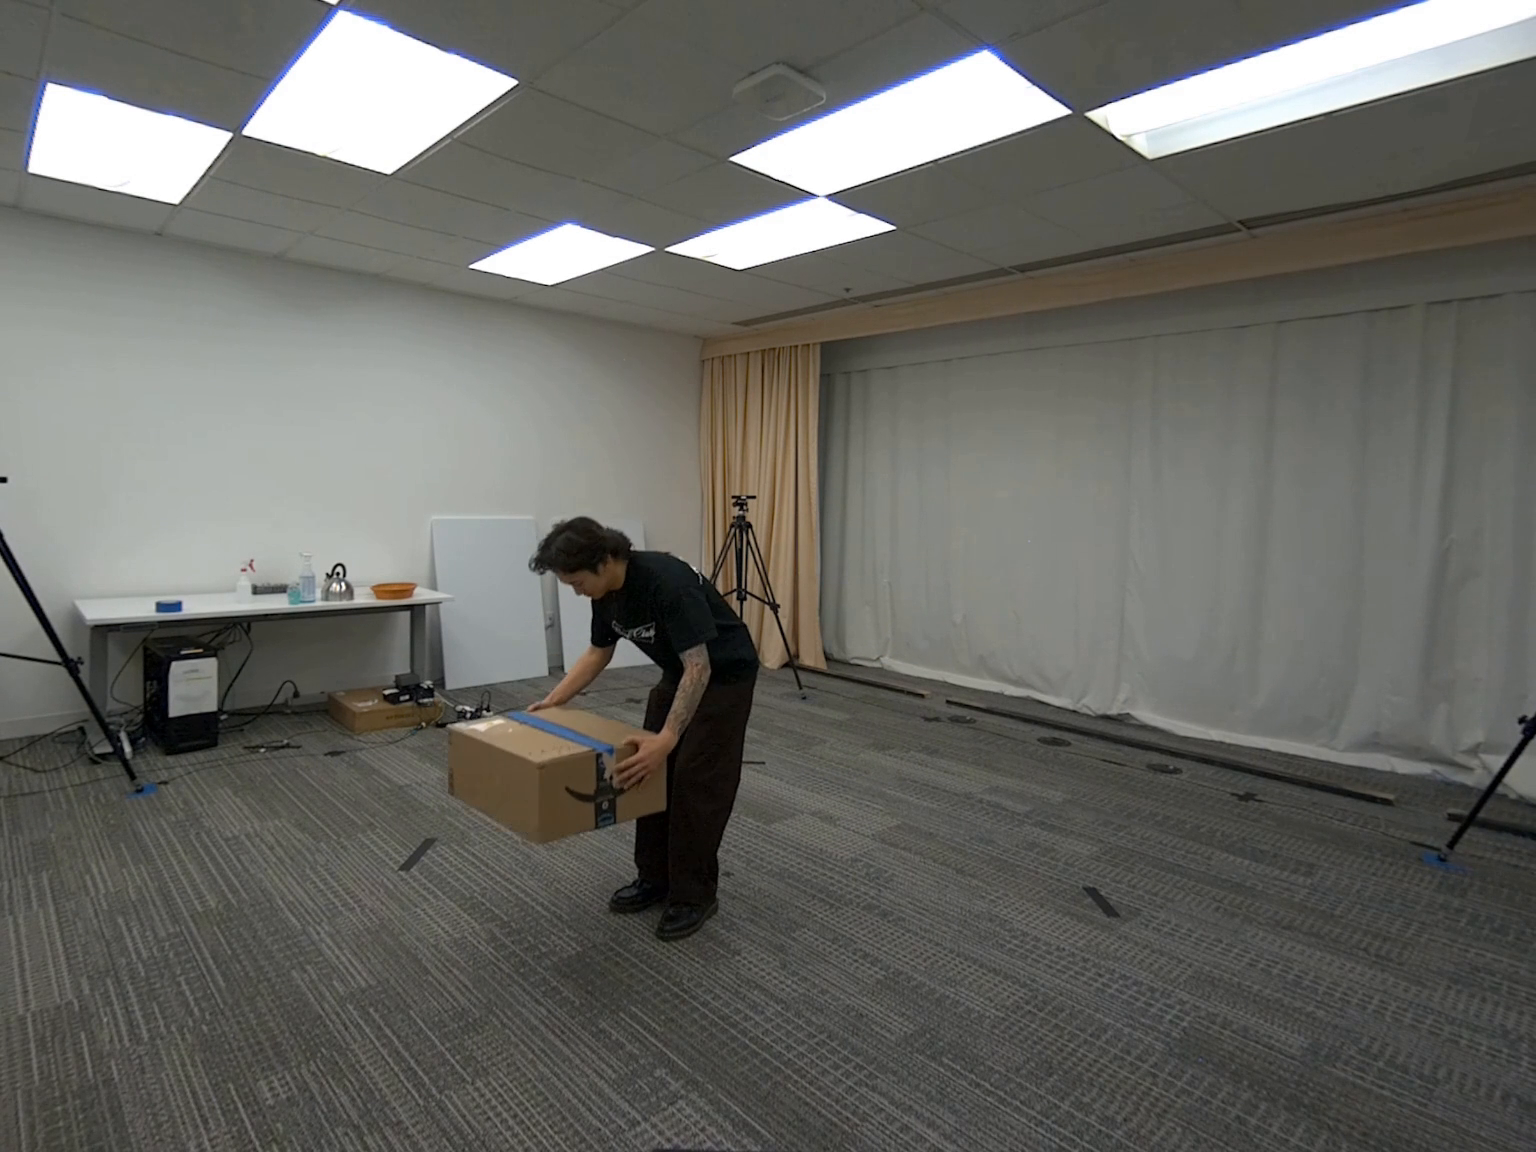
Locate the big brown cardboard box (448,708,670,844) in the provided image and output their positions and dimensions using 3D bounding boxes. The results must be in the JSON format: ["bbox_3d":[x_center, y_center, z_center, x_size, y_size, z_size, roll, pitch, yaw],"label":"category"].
[{"bbox_3d":[-0.641,0.567,2.519,0.408,0.233,0.604,-2,4,-44],"label":"big brown cardboard box"}]
